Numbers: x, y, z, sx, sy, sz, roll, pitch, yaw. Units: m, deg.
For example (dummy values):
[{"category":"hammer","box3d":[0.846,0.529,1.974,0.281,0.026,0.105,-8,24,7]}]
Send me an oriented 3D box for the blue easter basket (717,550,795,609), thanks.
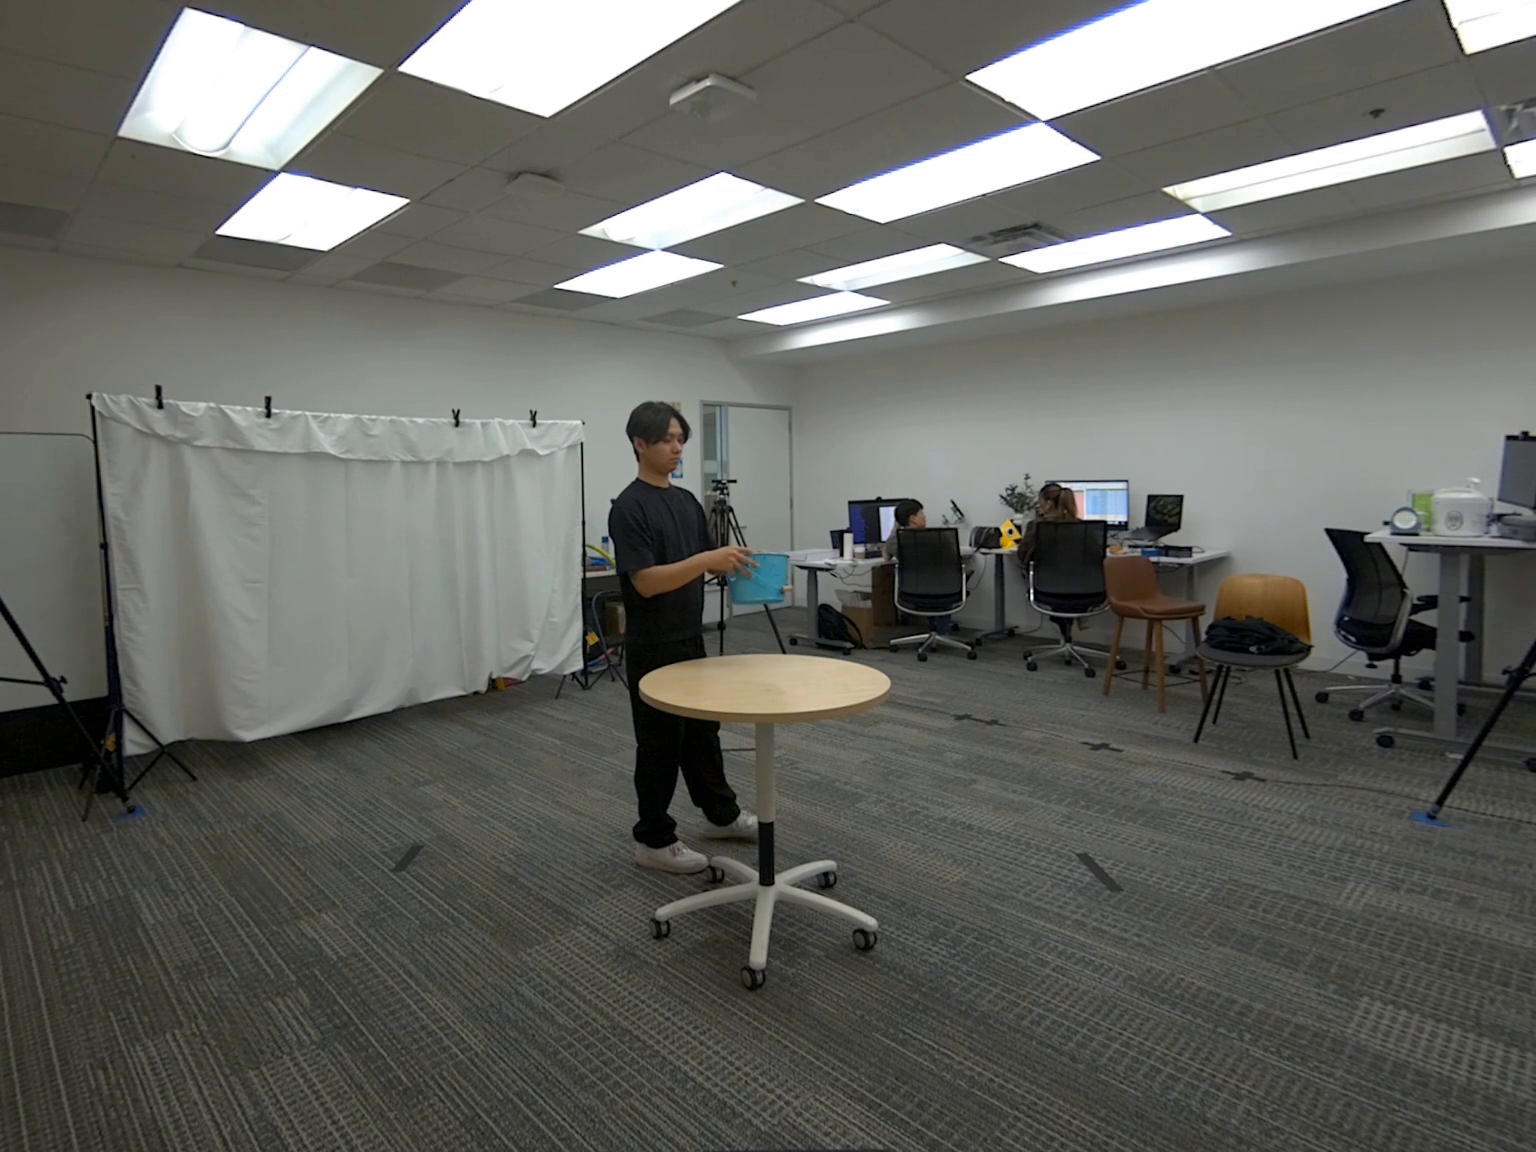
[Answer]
[{"category":"blue easter basket","box3d":[-0.050,0.015,2.923,0.243,0.157,0.242,-4,-7,-2]}]
